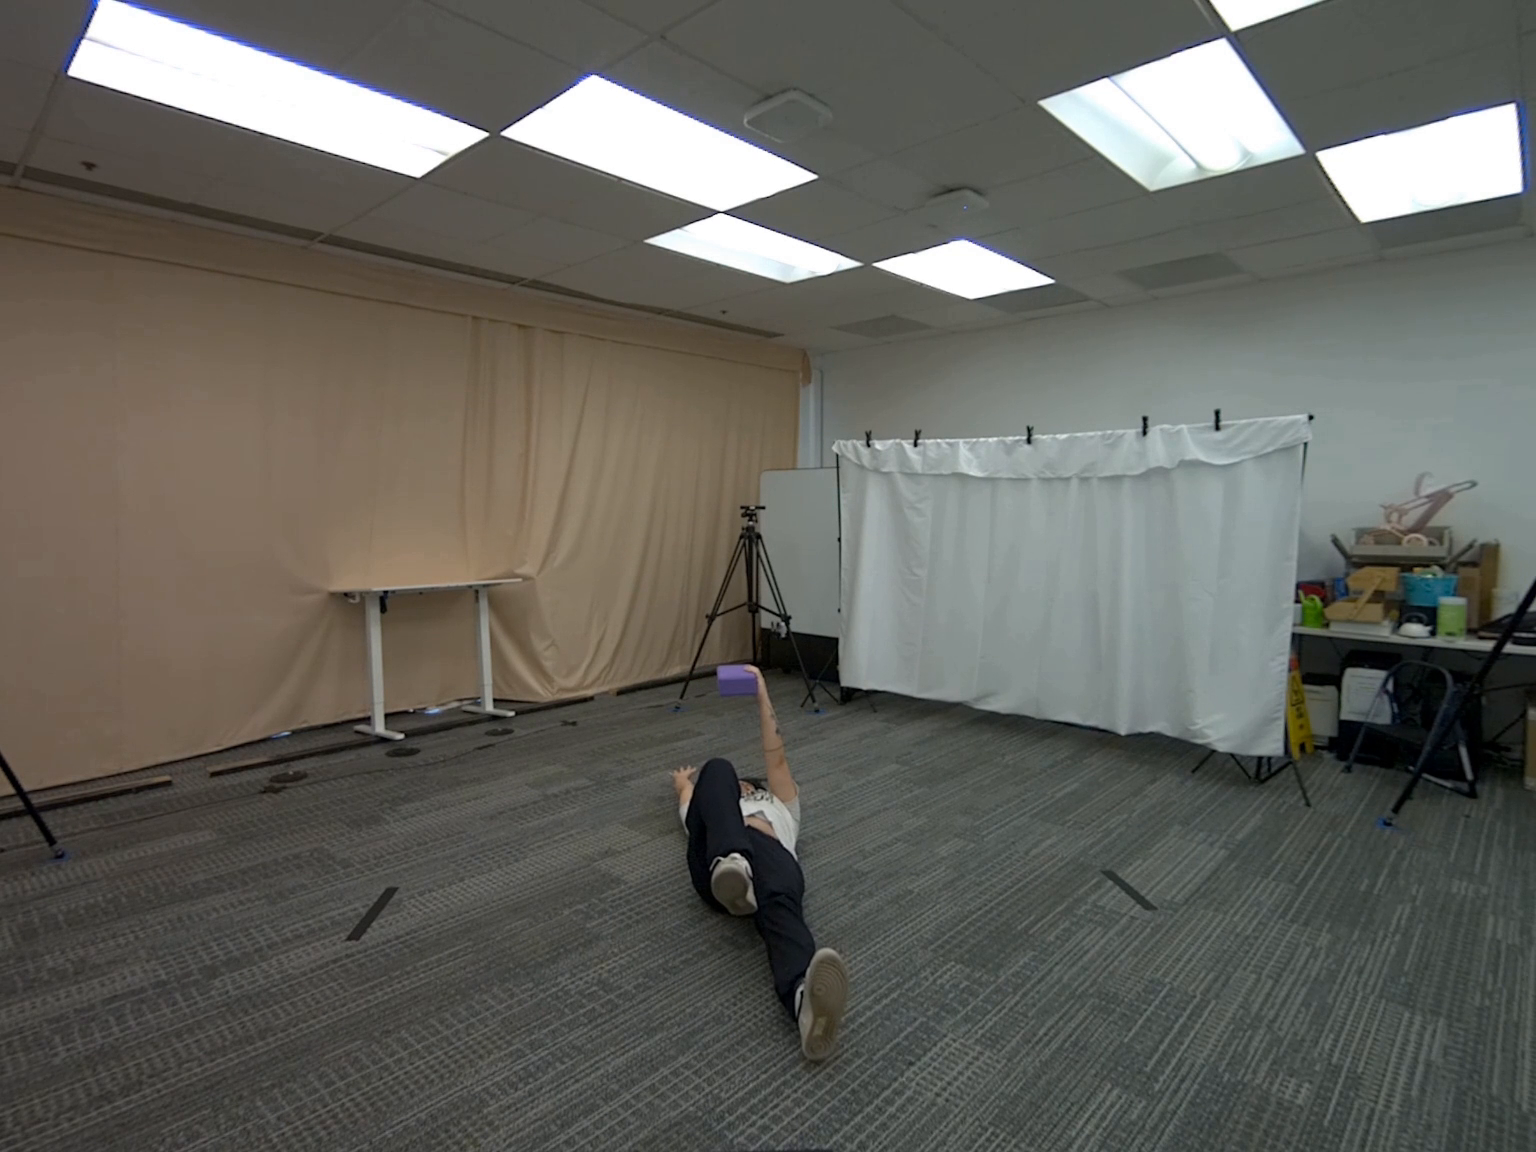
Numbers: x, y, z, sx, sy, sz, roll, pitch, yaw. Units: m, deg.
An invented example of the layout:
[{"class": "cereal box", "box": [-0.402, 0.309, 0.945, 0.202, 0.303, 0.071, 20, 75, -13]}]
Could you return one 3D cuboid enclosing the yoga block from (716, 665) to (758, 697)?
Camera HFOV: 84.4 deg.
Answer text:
[{"class": "yoga block", "box": [-0.124, 0.418, 3.398, 0.148, 0.076, 0.231, -3, 8, -4]}]
